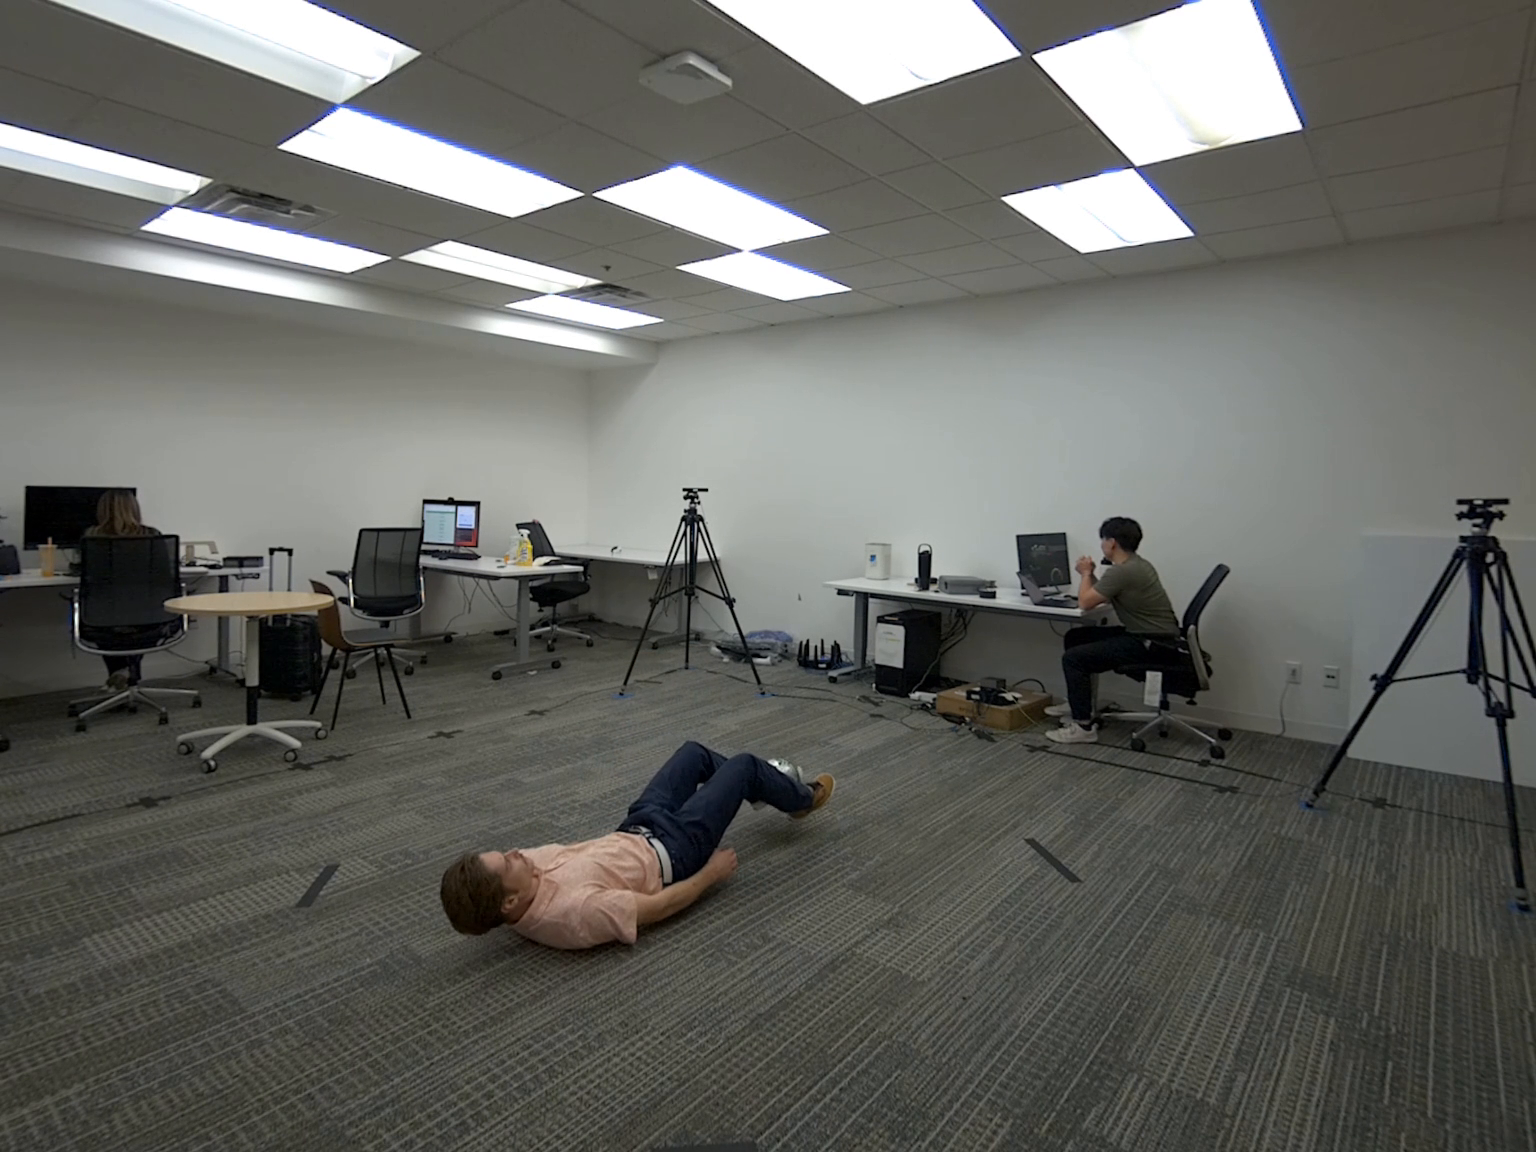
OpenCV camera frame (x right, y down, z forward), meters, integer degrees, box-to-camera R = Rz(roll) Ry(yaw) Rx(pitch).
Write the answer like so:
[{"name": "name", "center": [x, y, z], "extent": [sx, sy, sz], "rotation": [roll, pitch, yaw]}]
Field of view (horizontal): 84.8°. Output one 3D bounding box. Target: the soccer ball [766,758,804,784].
[{"name": "soccer ball", "center": [0.034, 0.833, 3.440], "extent": [0.187, 0.187, 0.188], "rotation": [1, 4, -2]}]
